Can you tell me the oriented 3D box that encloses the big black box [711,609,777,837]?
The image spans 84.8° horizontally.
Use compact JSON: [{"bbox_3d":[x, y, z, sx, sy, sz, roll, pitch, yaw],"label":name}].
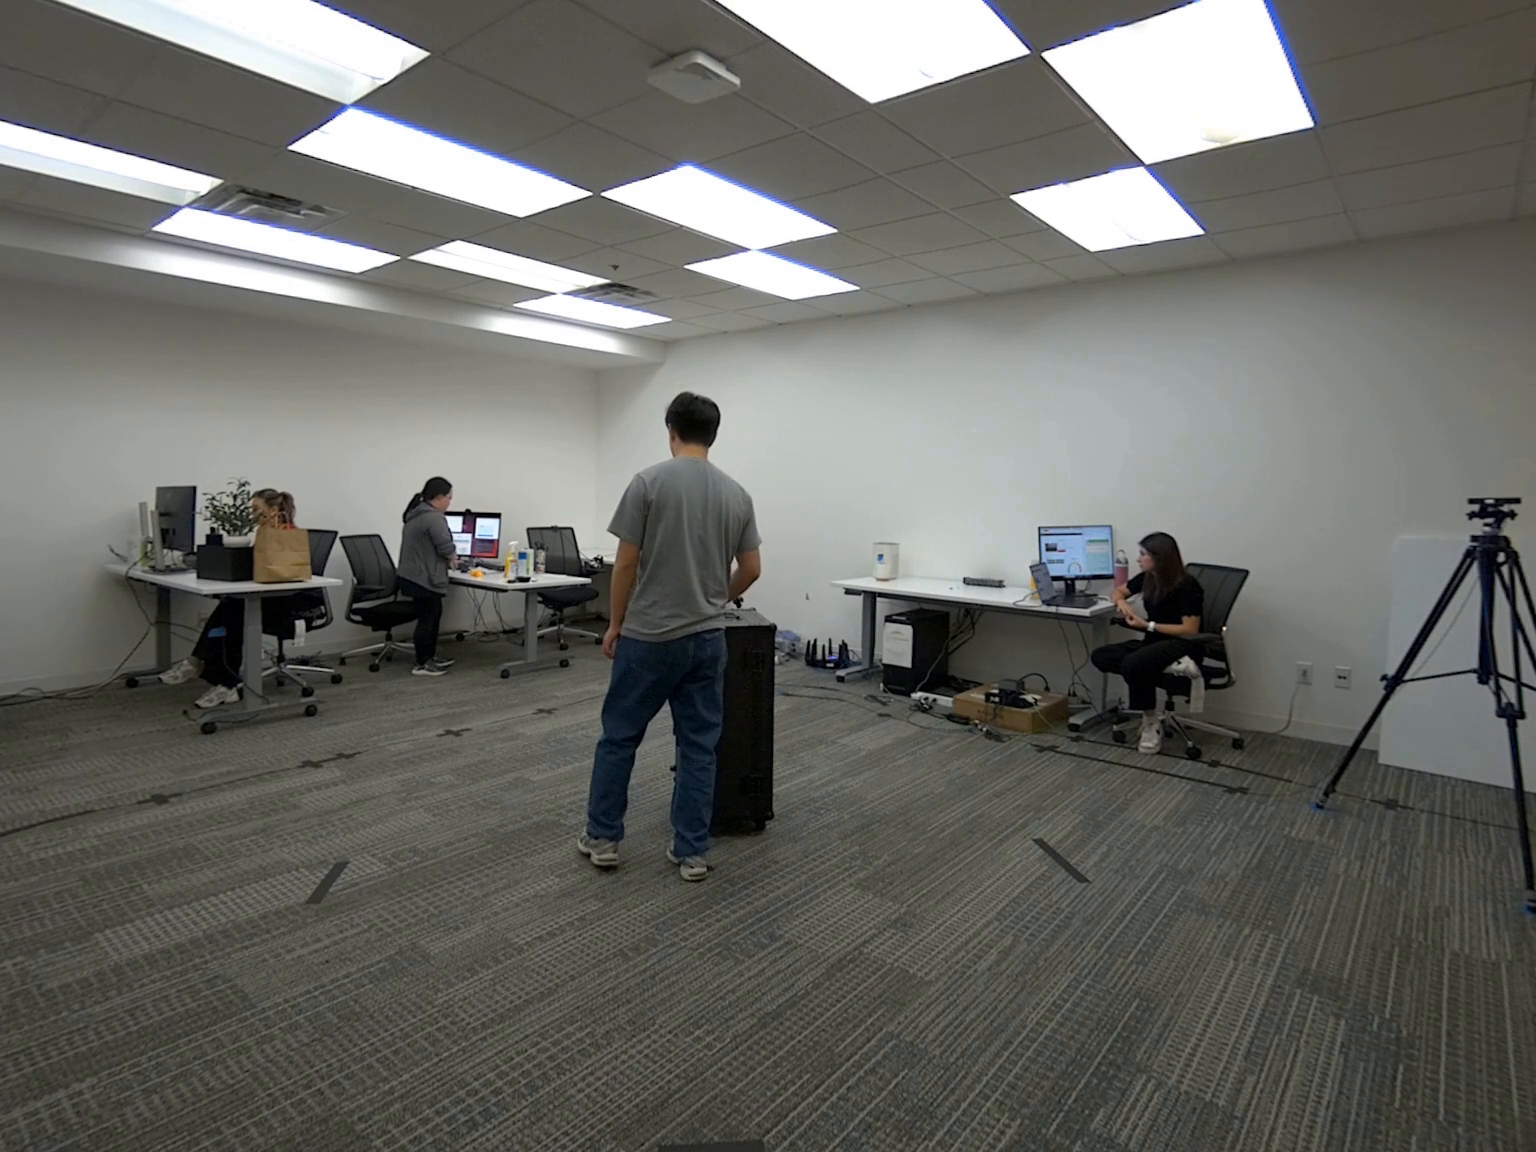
[{"bbox_3d":[-0.210,0.596,3.591,0.392,0.859,0.528,0,4,-10],"label":"big black box"}]
